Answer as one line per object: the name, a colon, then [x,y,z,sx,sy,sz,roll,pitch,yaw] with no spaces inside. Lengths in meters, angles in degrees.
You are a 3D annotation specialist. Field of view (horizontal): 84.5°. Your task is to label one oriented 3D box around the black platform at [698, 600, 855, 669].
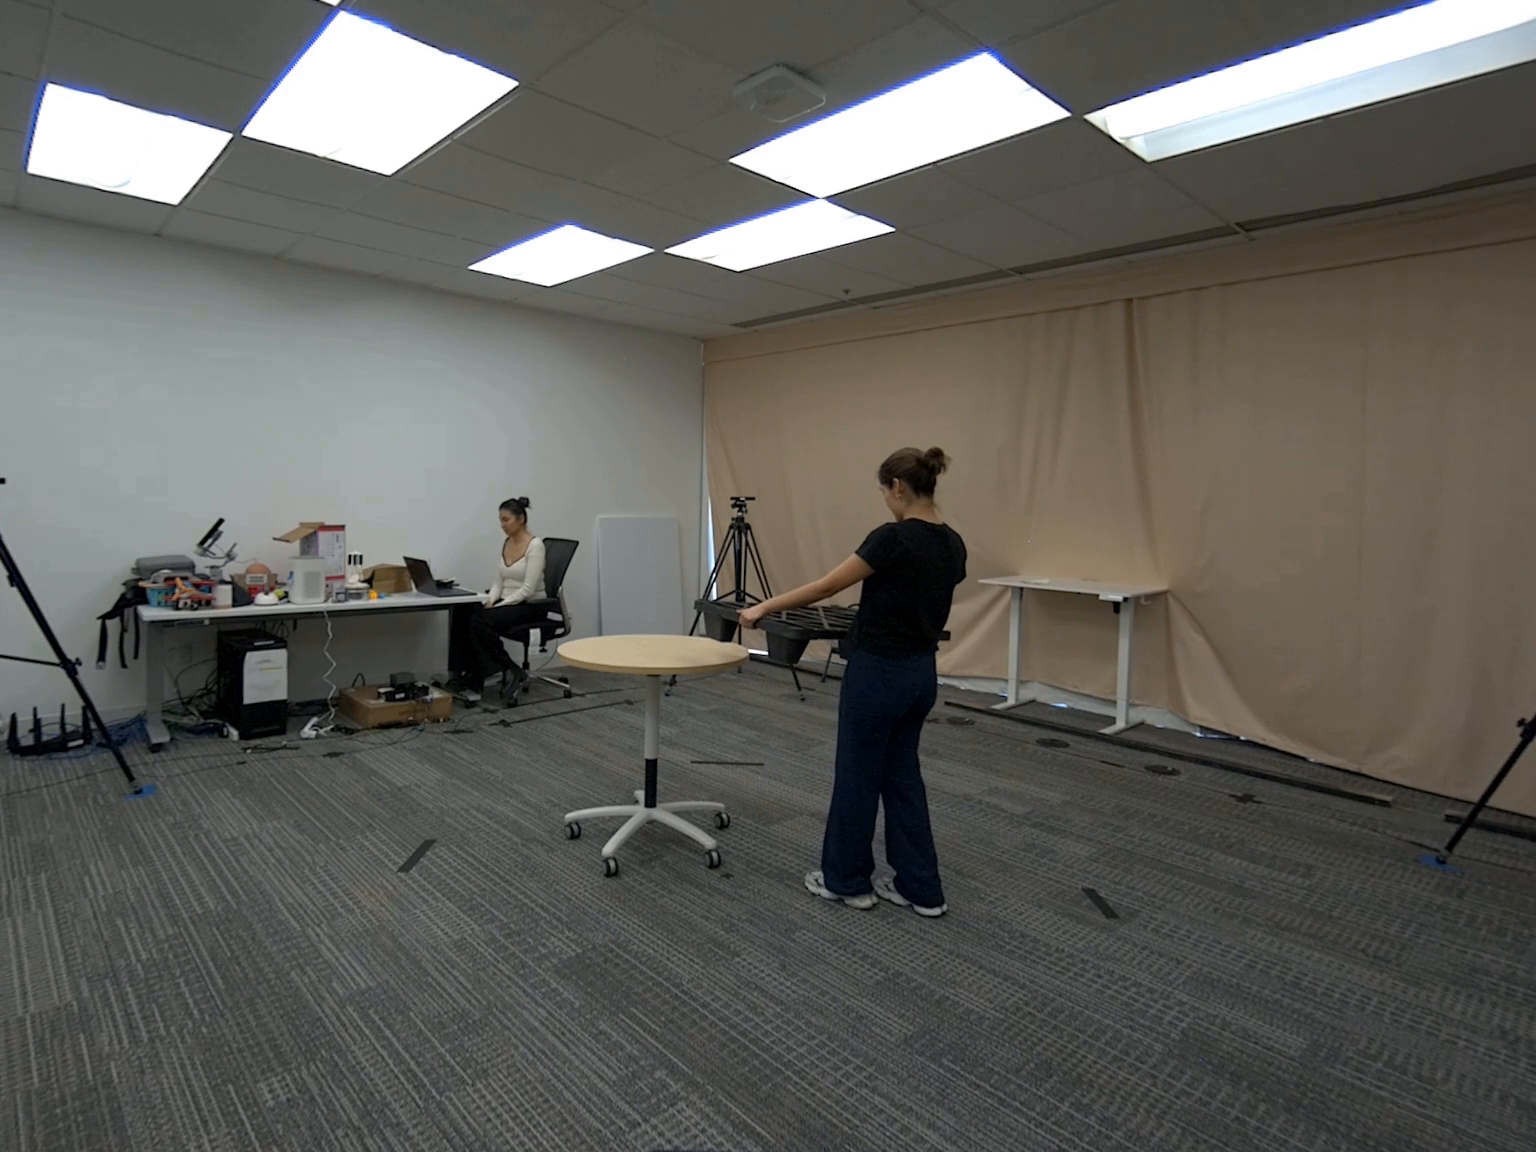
black platform: [0.208,0.218,3.182,0.786,0.143,0.621,3,6,-39]
